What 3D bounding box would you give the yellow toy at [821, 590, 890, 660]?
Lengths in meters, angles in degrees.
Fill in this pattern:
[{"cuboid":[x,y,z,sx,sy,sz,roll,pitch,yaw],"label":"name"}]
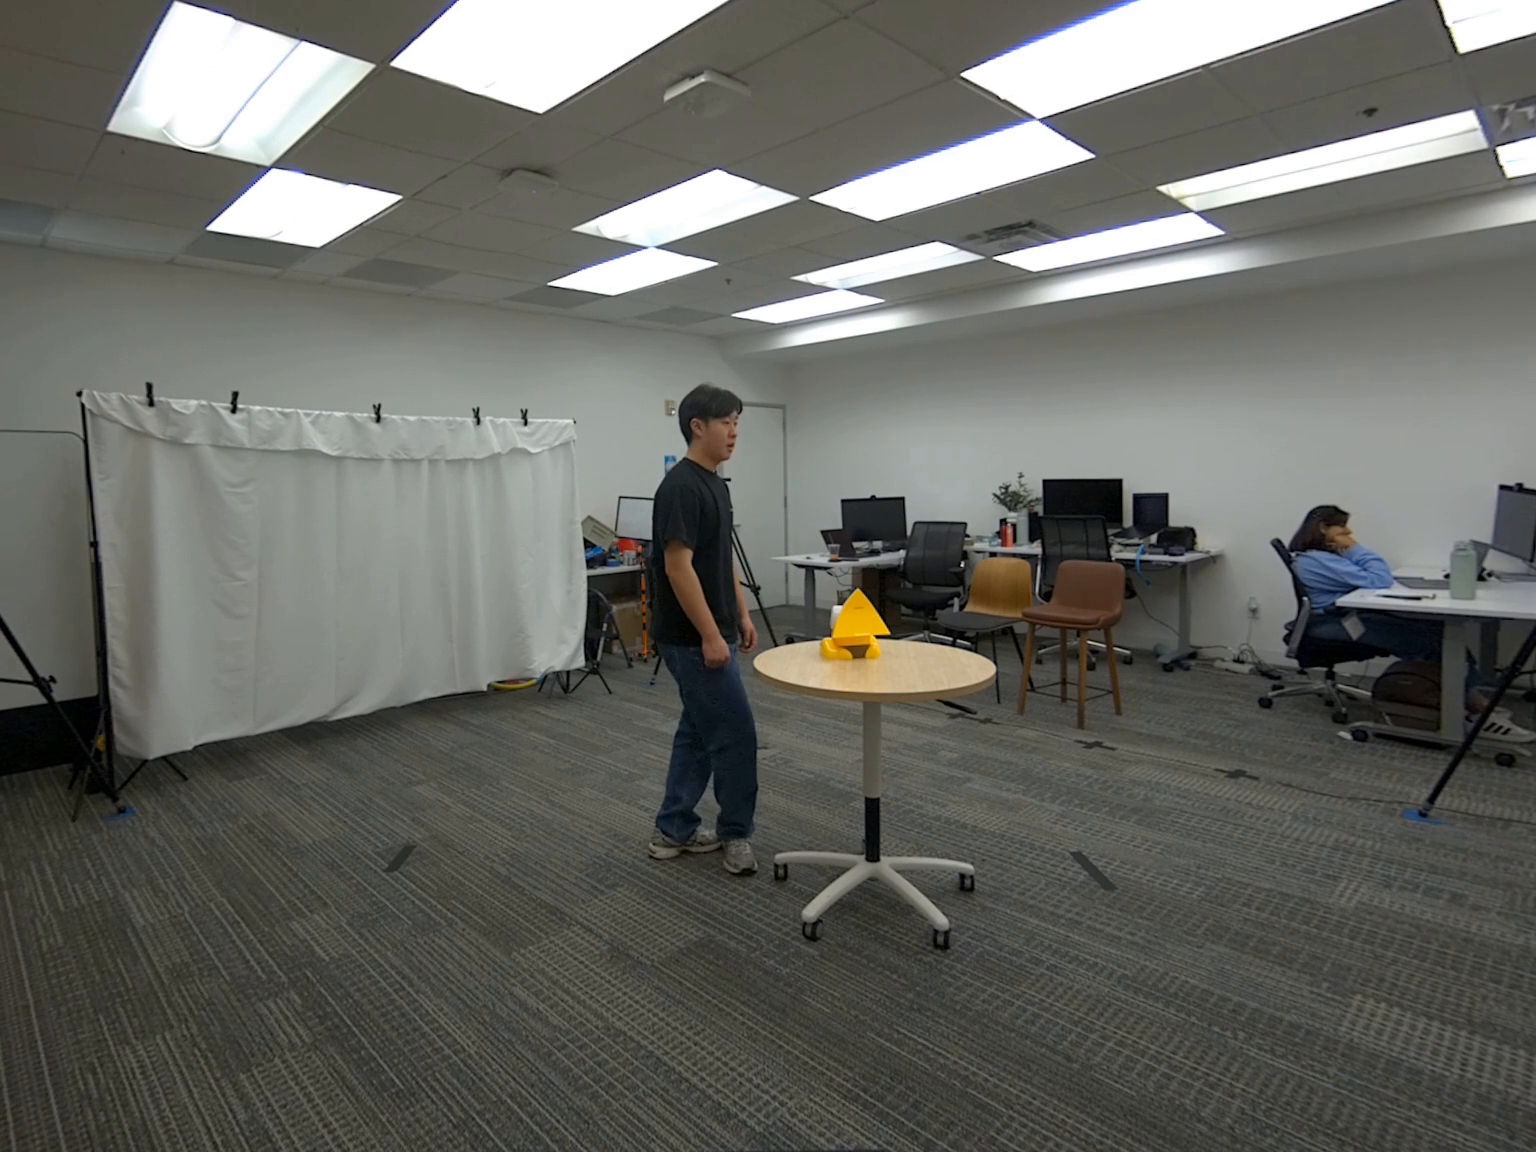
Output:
[{"cuboid":[0.278,0.151,2.874,0.202,0.230,0.197,-2,4,-17],"label":"yellow toy"}]
